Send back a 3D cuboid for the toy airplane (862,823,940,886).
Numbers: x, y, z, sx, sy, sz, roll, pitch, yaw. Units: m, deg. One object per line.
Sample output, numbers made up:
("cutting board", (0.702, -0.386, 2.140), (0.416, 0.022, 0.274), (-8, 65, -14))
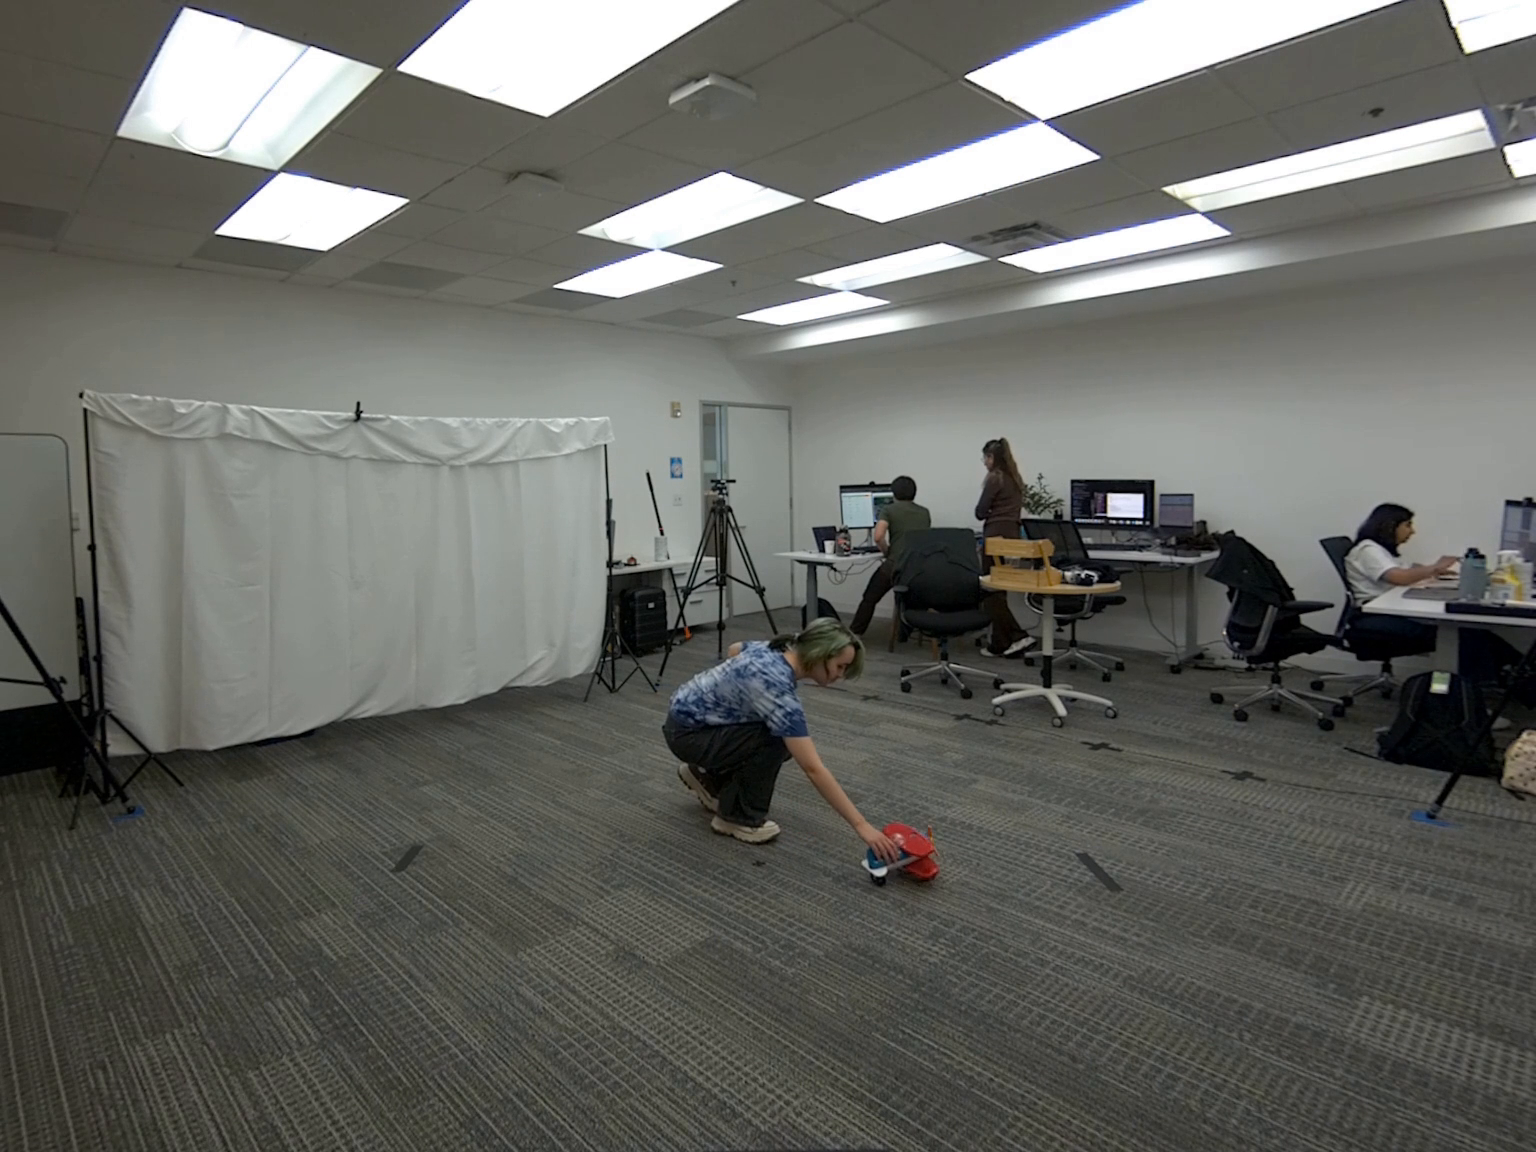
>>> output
("toy airplane", (0.474, 0.979, 2.957), (0.259, 0.156, 0.252), (3, 6, 40))
